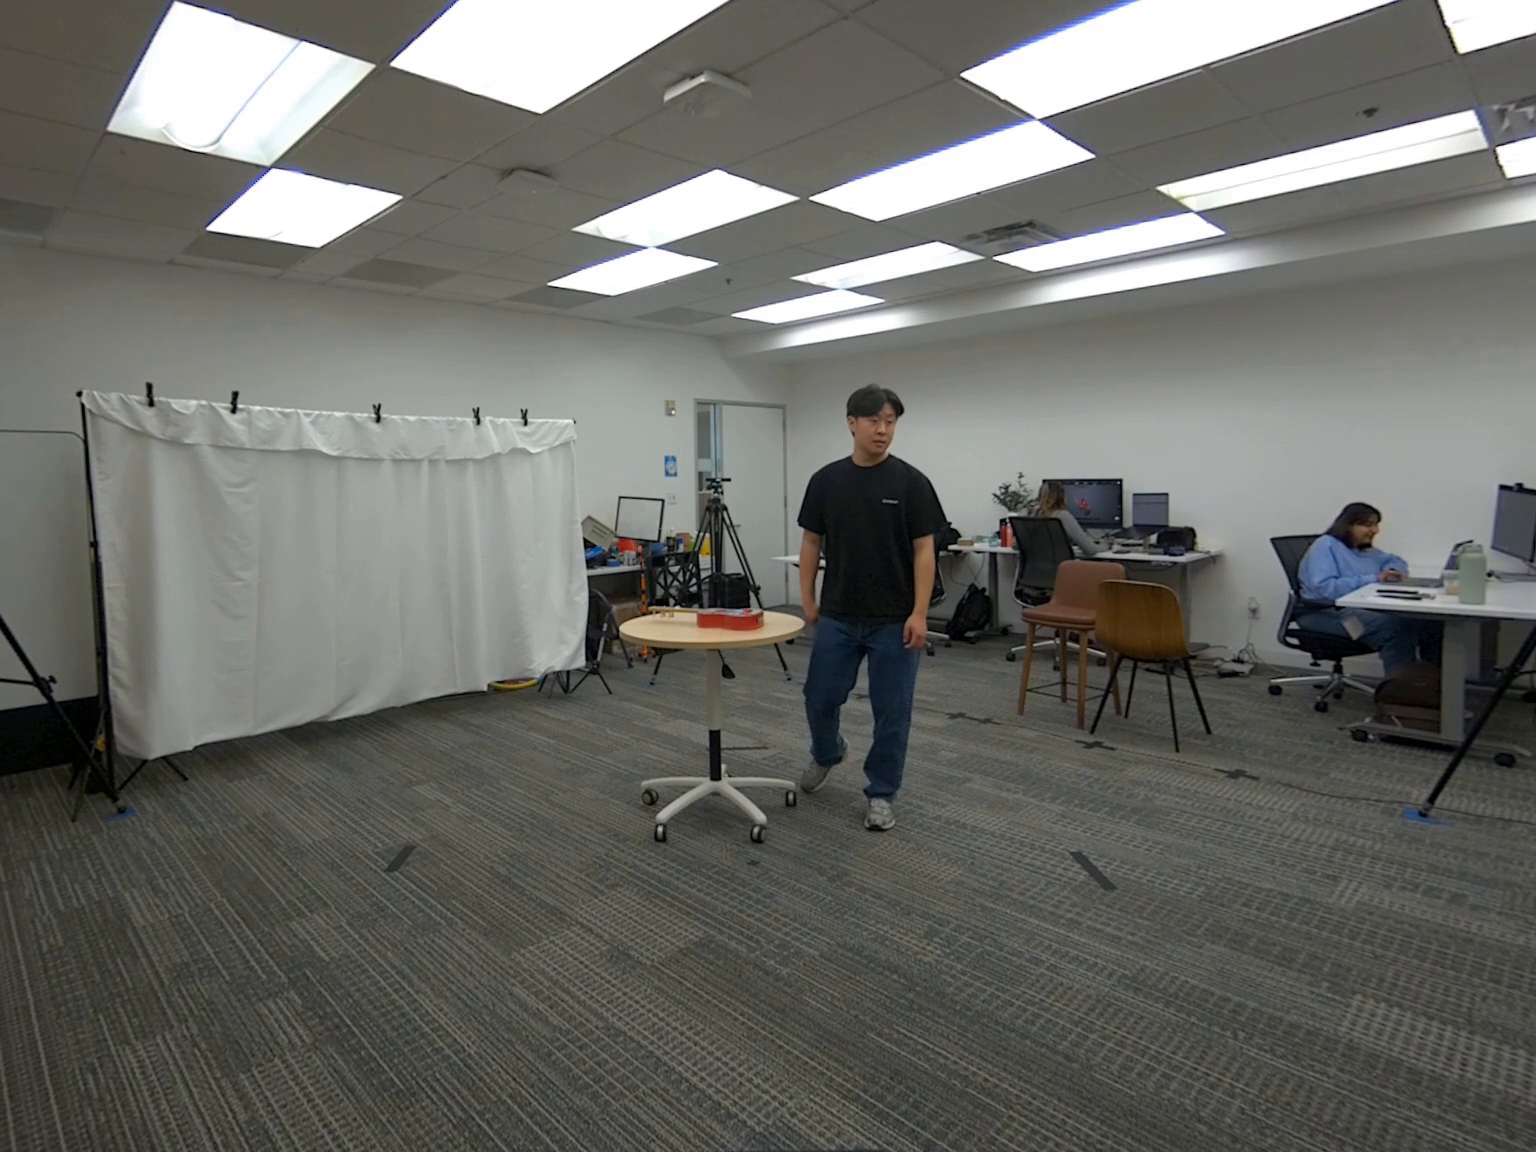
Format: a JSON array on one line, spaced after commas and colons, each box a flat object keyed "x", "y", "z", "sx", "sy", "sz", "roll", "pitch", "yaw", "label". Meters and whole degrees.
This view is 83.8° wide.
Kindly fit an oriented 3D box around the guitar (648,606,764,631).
[{"x": -0.245, "y": 0.165, "z": 3.565, "sx": 0.511, "sy": 0.070, "sz": 0.189, "roll": 3, "pitch": 7, "yaw": 30, "label": "guitar"}]
